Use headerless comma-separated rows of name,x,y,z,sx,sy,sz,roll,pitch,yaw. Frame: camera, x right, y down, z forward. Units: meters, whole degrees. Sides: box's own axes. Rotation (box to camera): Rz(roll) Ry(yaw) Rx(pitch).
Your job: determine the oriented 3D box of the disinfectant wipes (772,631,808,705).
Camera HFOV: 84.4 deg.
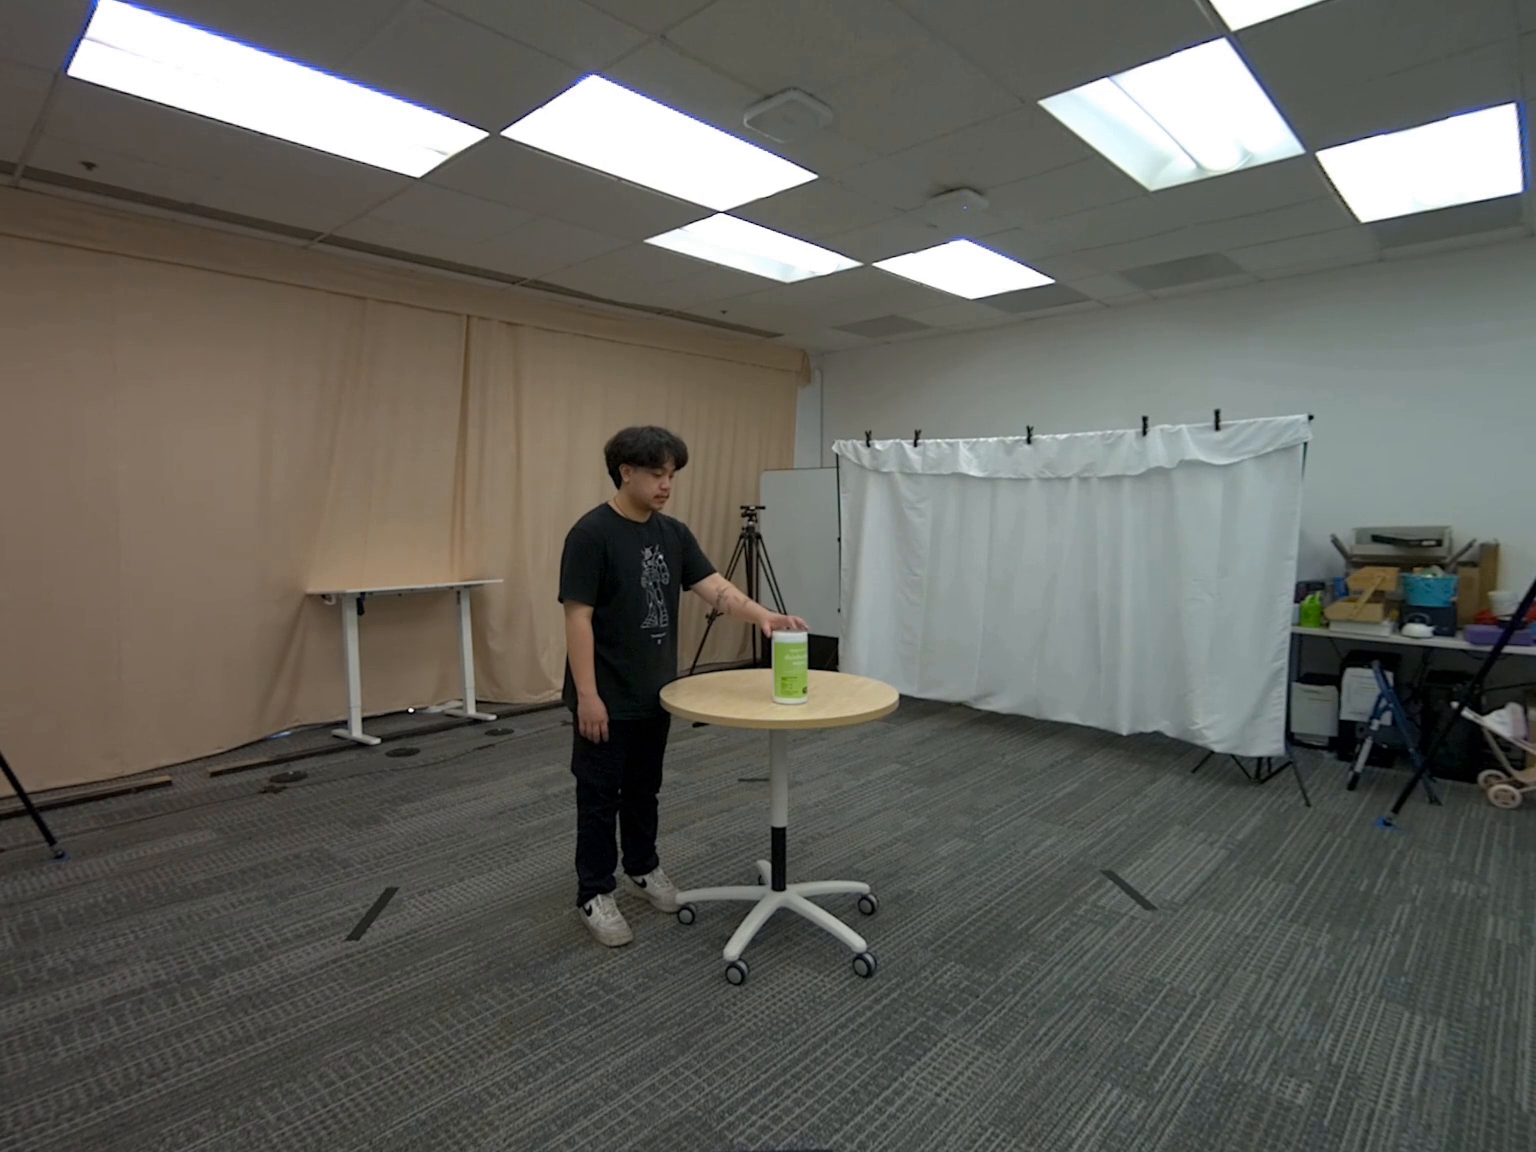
disinfectant wipes,0.070,0.276,2.569,0.118,0.217,0.118,1,3,-2
